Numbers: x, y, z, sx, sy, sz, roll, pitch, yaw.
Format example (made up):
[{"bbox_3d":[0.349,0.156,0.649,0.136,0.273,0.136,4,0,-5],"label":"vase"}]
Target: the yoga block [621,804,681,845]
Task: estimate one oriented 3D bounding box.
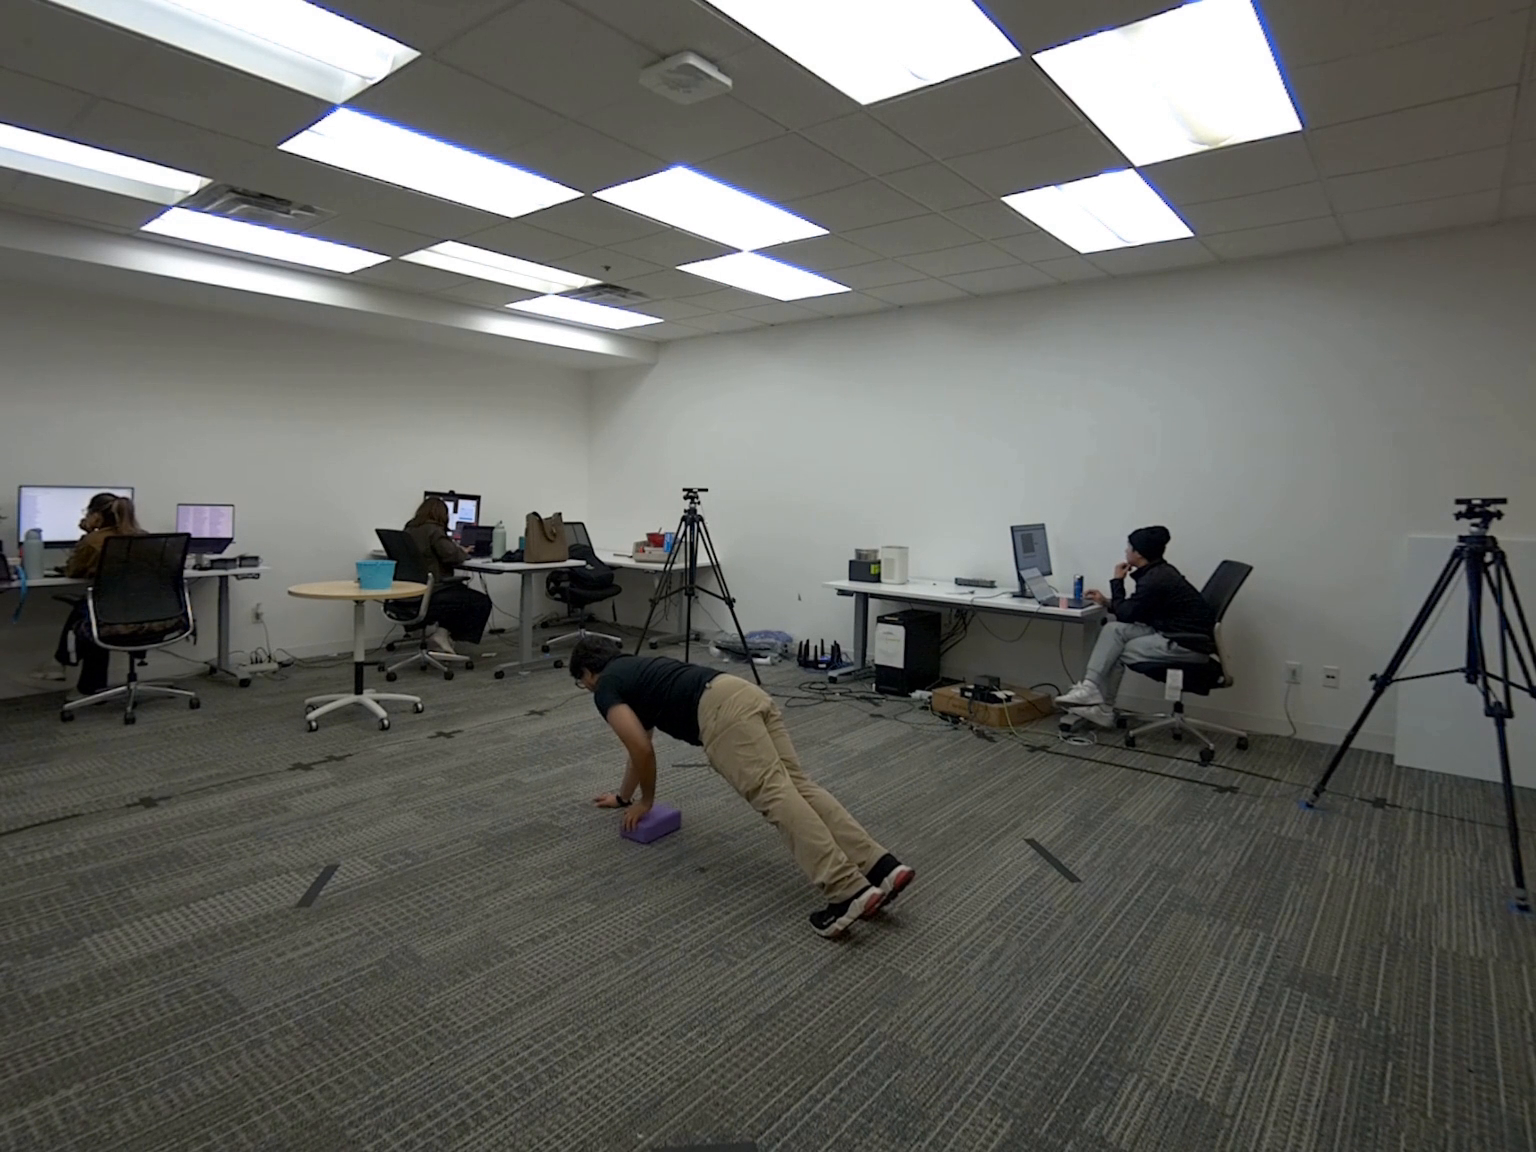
[{"bbox_3d":[-0.472,0.995,3.444,0.154,0.076,0.223,4,6,38],"label":"yoga block"}]
